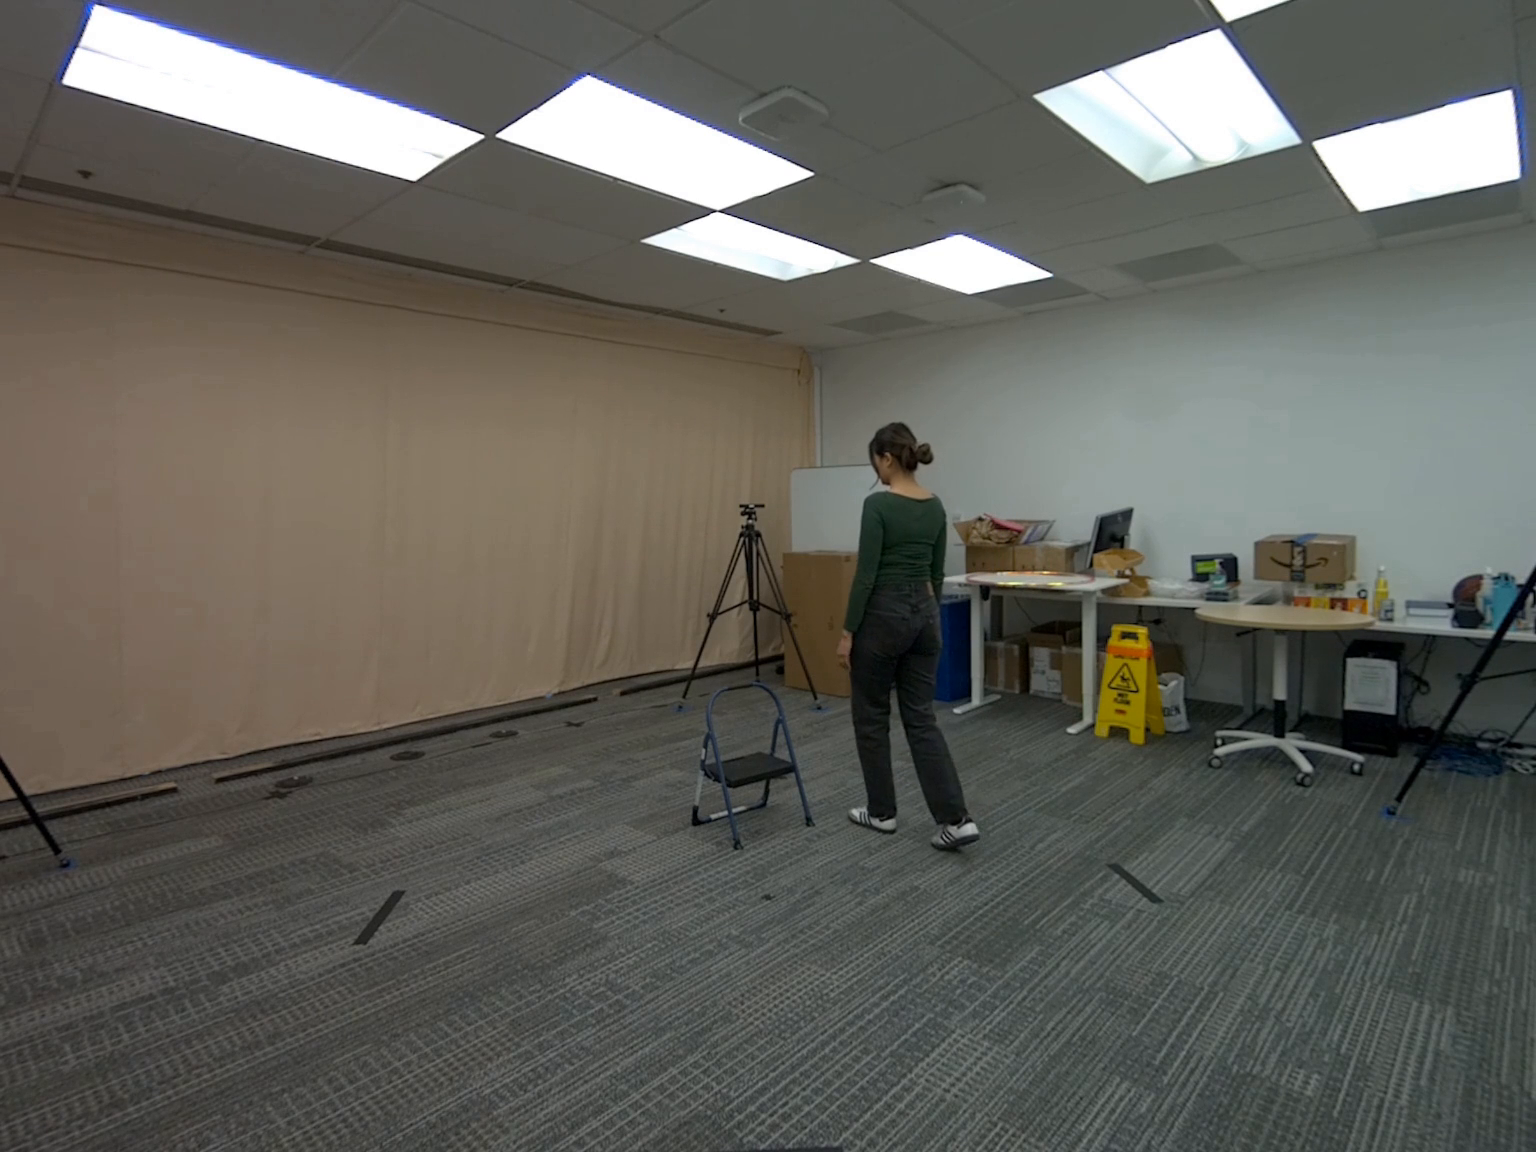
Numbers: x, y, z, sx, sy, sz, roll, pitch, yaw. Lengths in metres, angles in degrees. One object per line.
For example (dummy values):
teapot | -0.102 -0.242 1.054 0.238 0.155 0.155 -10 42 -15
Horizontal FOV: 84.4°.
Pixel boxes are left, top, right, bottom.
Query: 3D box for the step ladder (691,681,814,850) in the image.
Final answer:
step ladder | -0.072 0.783 3.650 0.418 0.605 0.360 -4 4 -38
